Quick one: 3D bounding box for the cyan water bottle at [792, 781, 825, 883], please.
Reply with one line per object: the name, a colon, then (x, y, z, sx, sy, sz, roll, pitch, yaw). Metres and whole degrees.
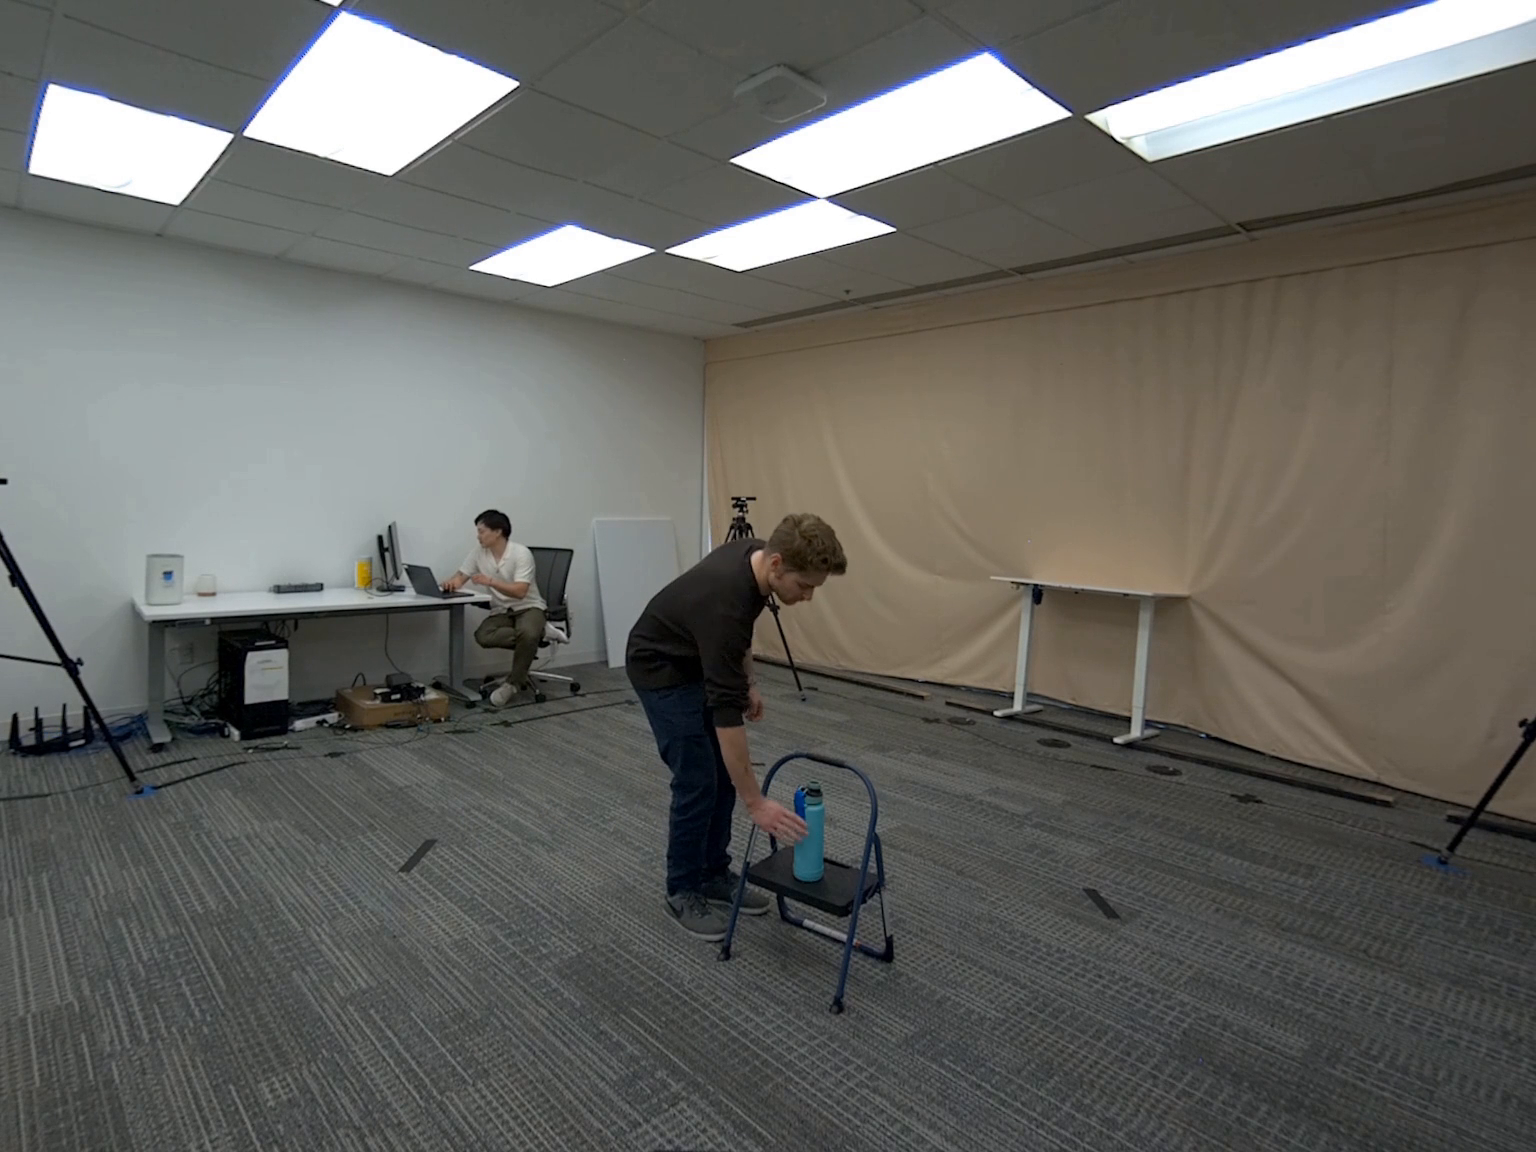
cyan water bottle: (0.114, 0.768, 2.518, 0.092, 0.282, 0.093, 1, 8, -2)
